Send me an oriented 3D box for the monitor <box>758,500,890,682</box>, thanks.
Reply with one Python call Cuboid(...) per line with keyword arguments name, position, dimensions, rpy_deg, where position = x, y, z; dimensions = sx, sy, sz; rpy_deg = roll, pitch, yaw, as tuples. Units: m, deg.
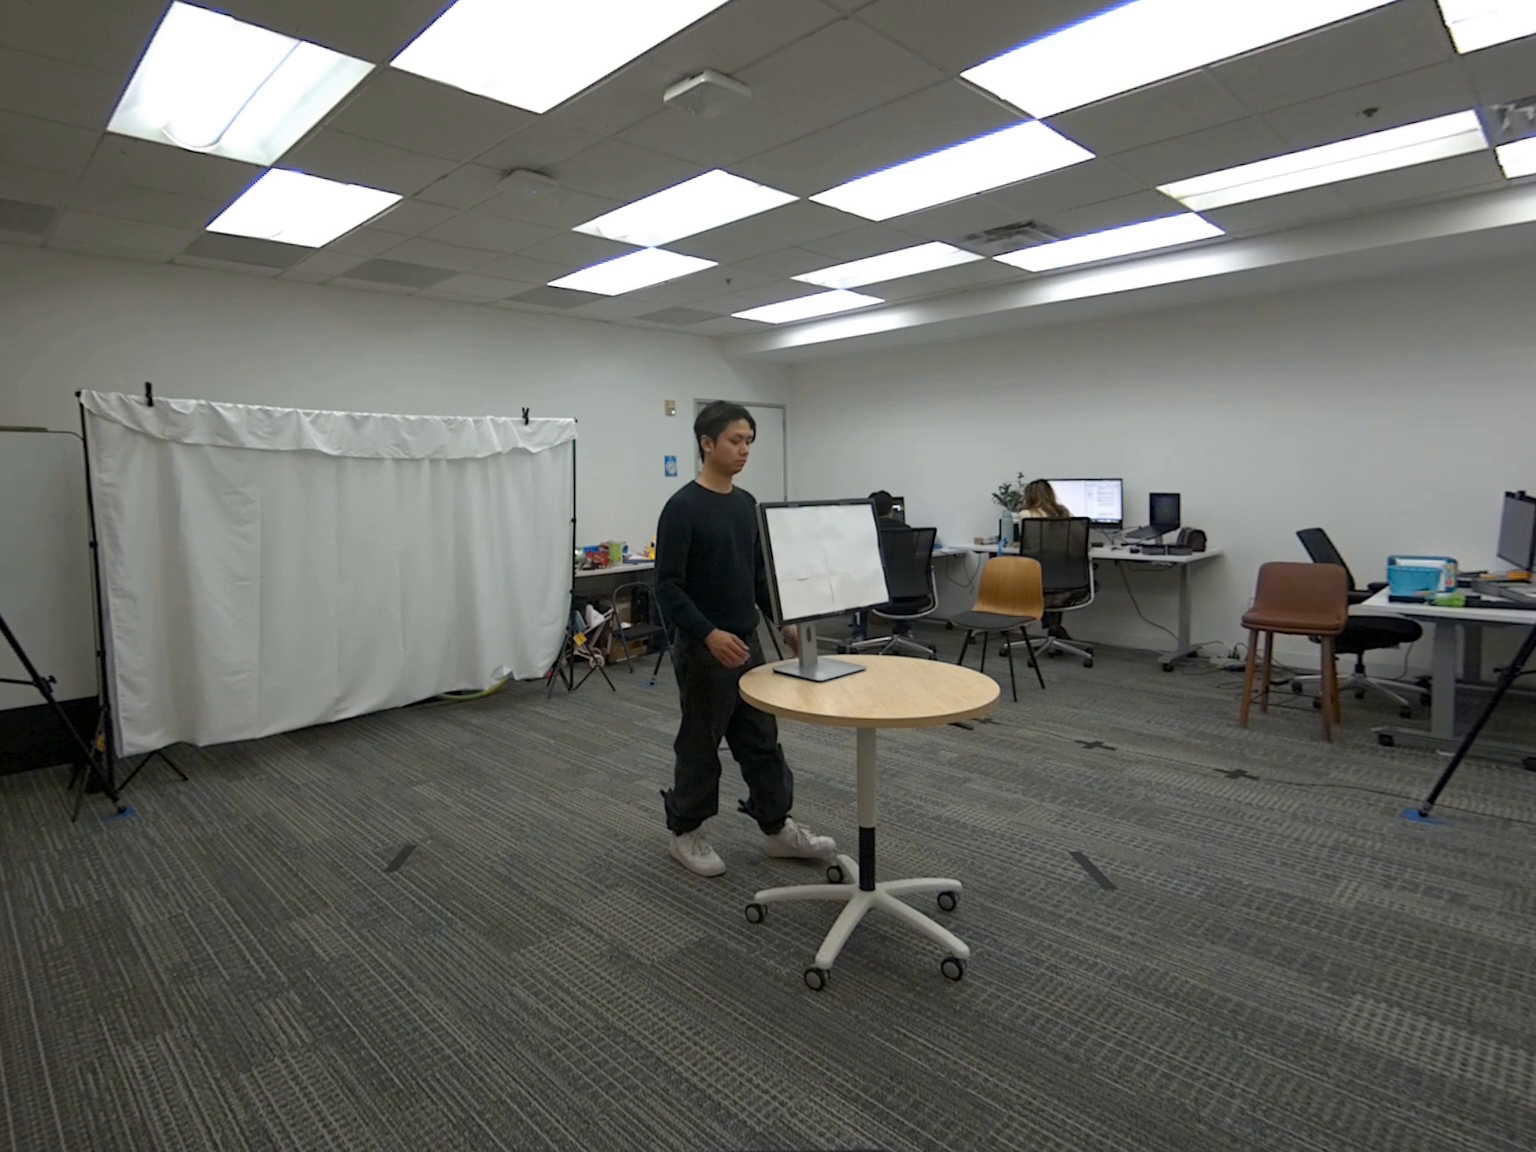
Cuboid(name="monitor", position=(0.157, 0.035, 2.703), dimensions=(0.193, 0.520, 0.525), rpy_deg=(4, 6, 41))
